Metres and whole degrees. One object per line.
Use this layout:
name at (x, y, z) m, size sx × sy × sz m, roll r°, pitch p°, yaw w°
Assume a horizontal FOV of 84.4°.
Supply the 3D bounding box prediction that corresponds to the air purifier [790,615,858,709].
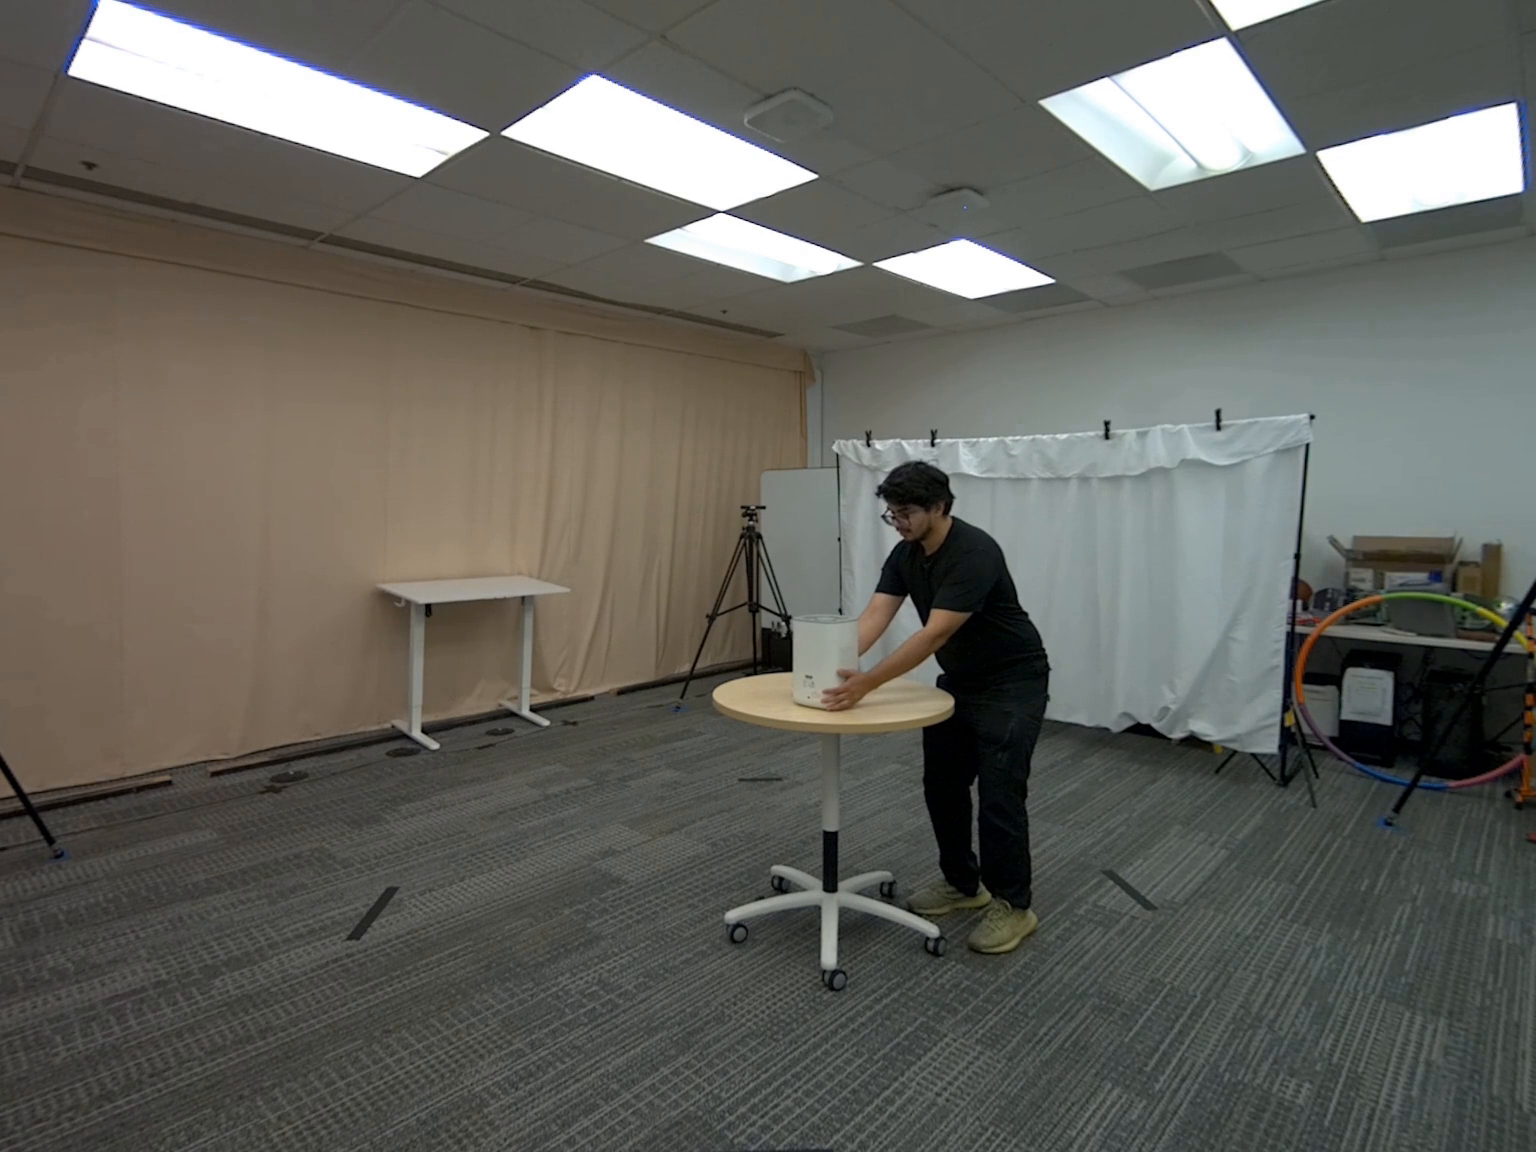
air purifier at (0.183, 0.262, 2.572) m, size 0.176 × 0.265 × 0.166 m, roll 2°, pitch 4°, yaw 38°
